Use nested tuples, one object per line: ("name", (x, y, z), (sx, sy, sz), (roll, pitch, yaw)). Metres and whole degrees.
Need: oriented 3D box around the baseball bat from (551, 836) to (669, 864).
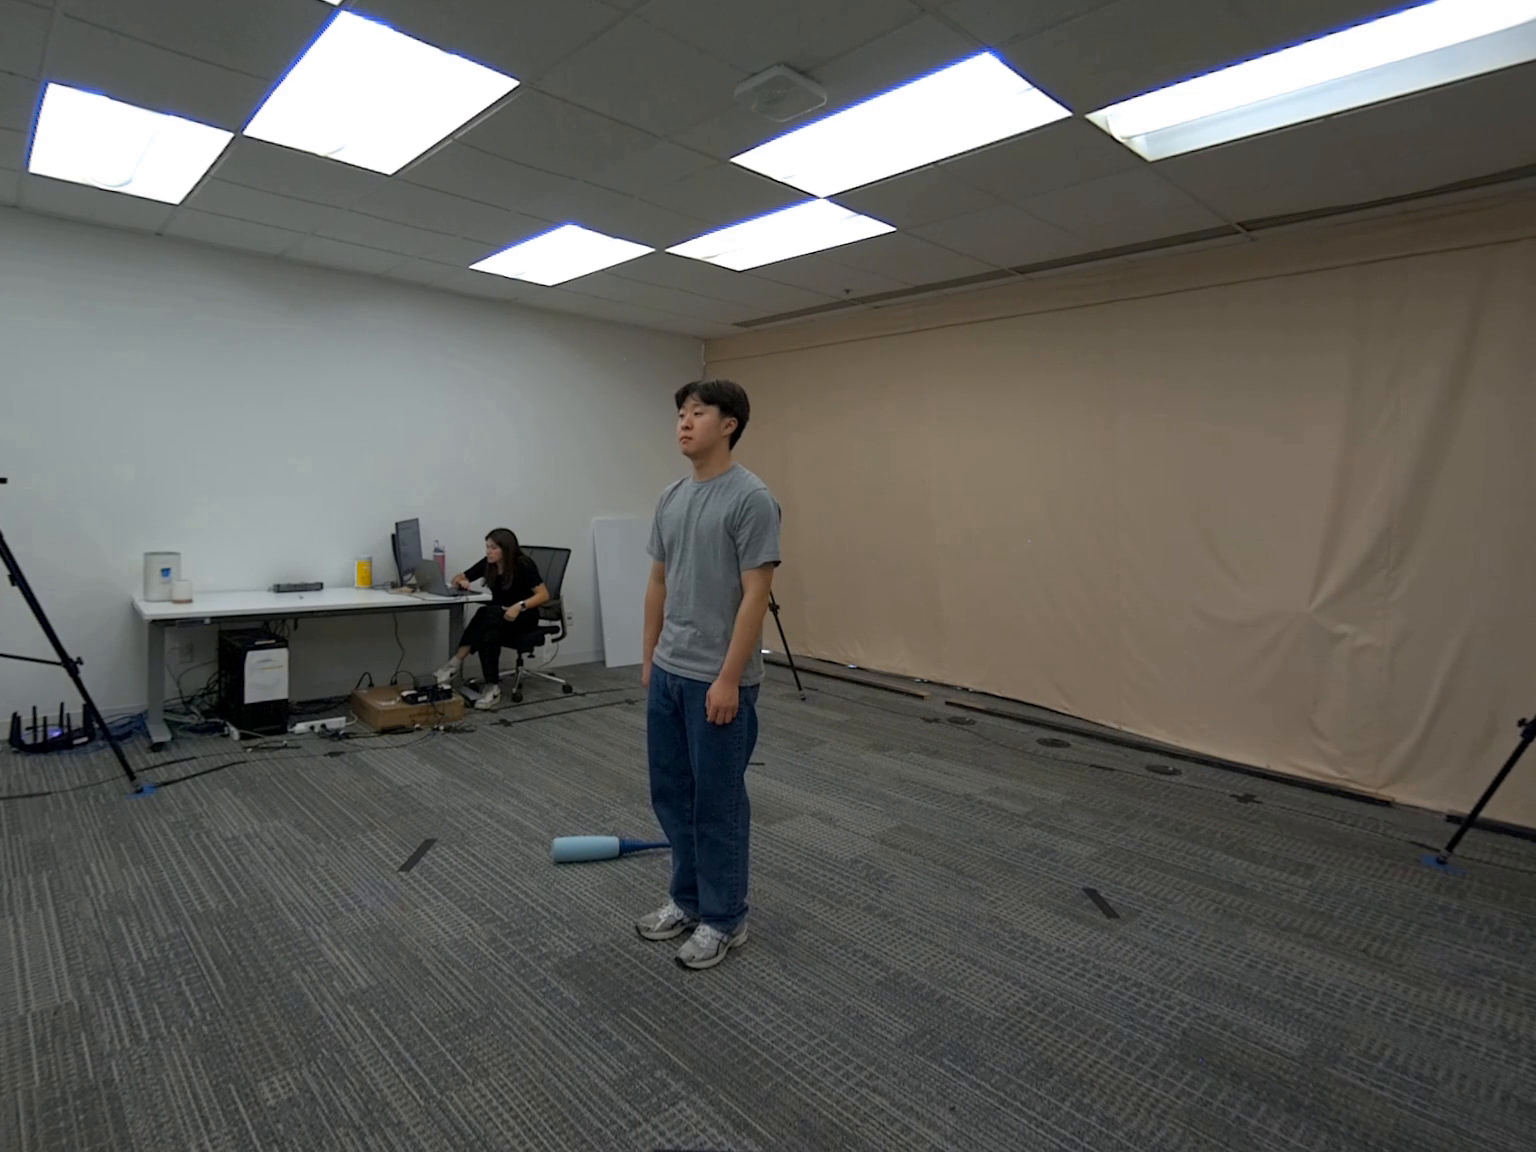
("baseball bat", (-0.570, 1.048, 3.247), (0.536, 0.089, 0.090), (3, 4, -16))
